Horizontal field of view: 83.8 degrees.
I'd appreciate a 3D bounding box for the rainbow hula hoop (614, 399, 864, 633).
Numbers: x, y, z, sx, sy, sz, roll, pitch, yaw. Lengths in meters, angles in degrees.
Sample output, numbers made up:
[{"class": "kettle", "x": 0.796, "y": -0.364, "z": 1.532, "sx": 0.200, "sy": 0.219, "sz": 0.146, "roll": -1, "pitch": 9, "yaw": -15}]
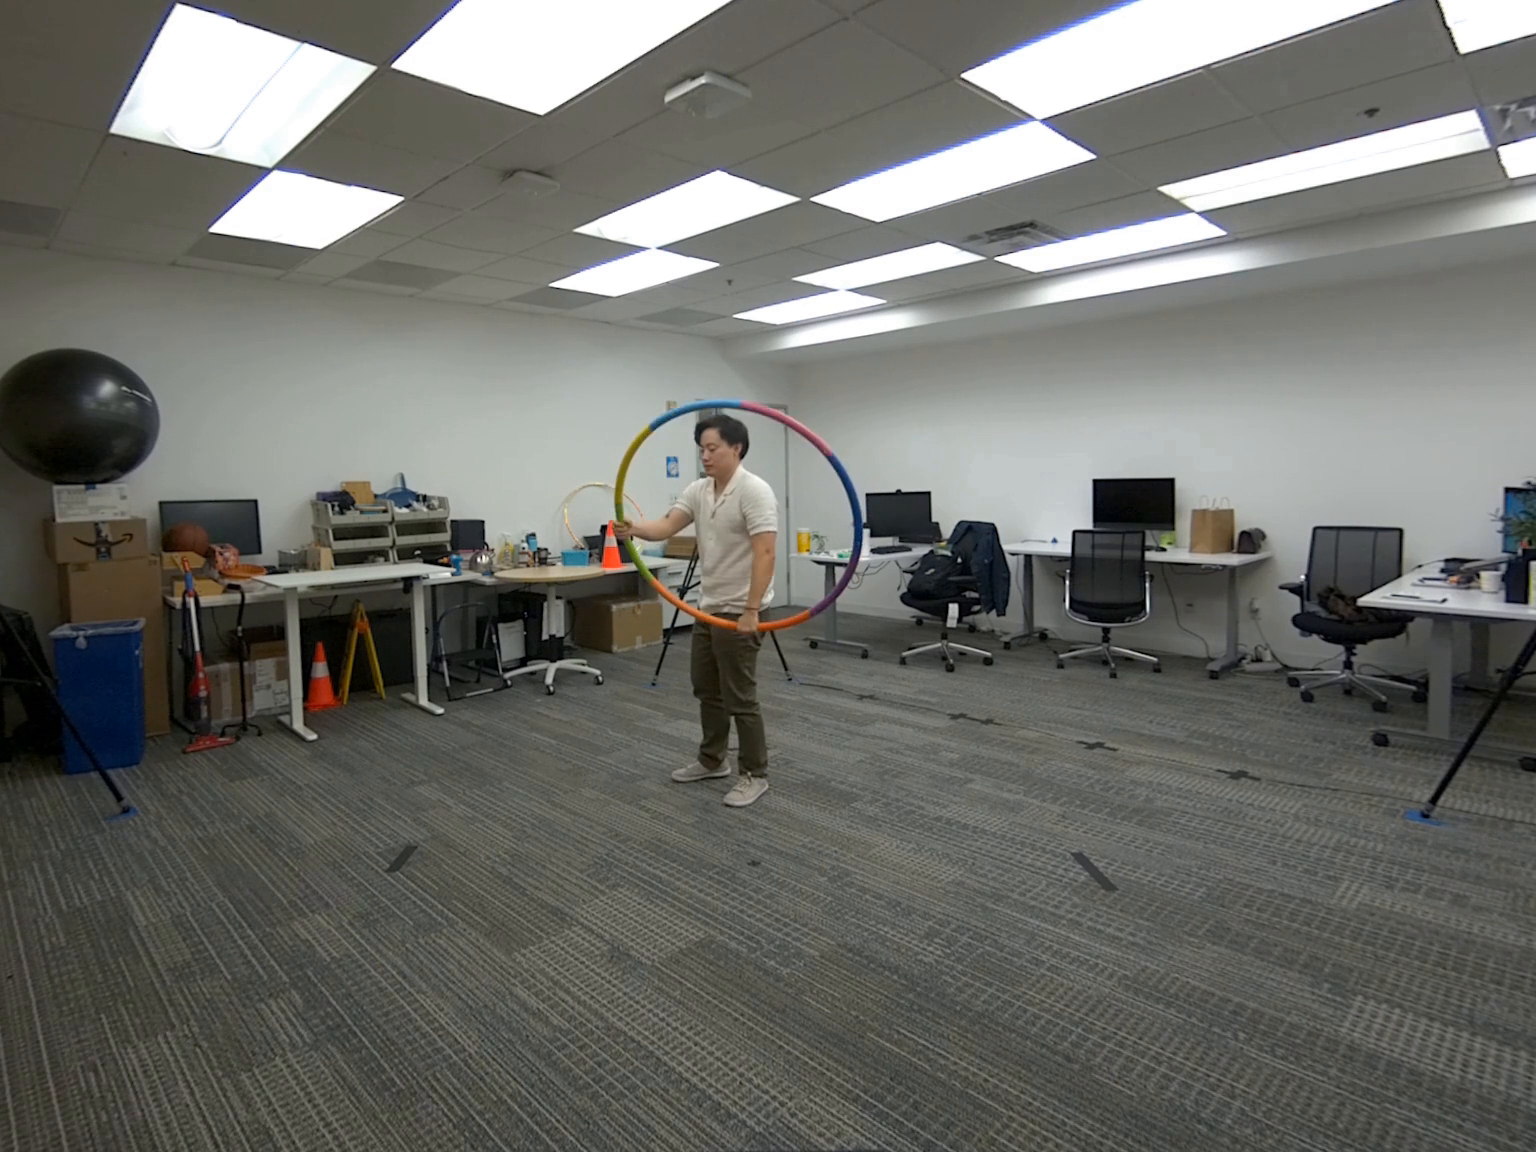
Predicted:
[{"class": "rainbow hula hoop", "x": -0.137, "y": -0.191, "z": 3.265, "sx": 0.997, "sy": 0.954, "sz": 0.036, "roll": 1, "pitch": 28, "yaw": 20}]
